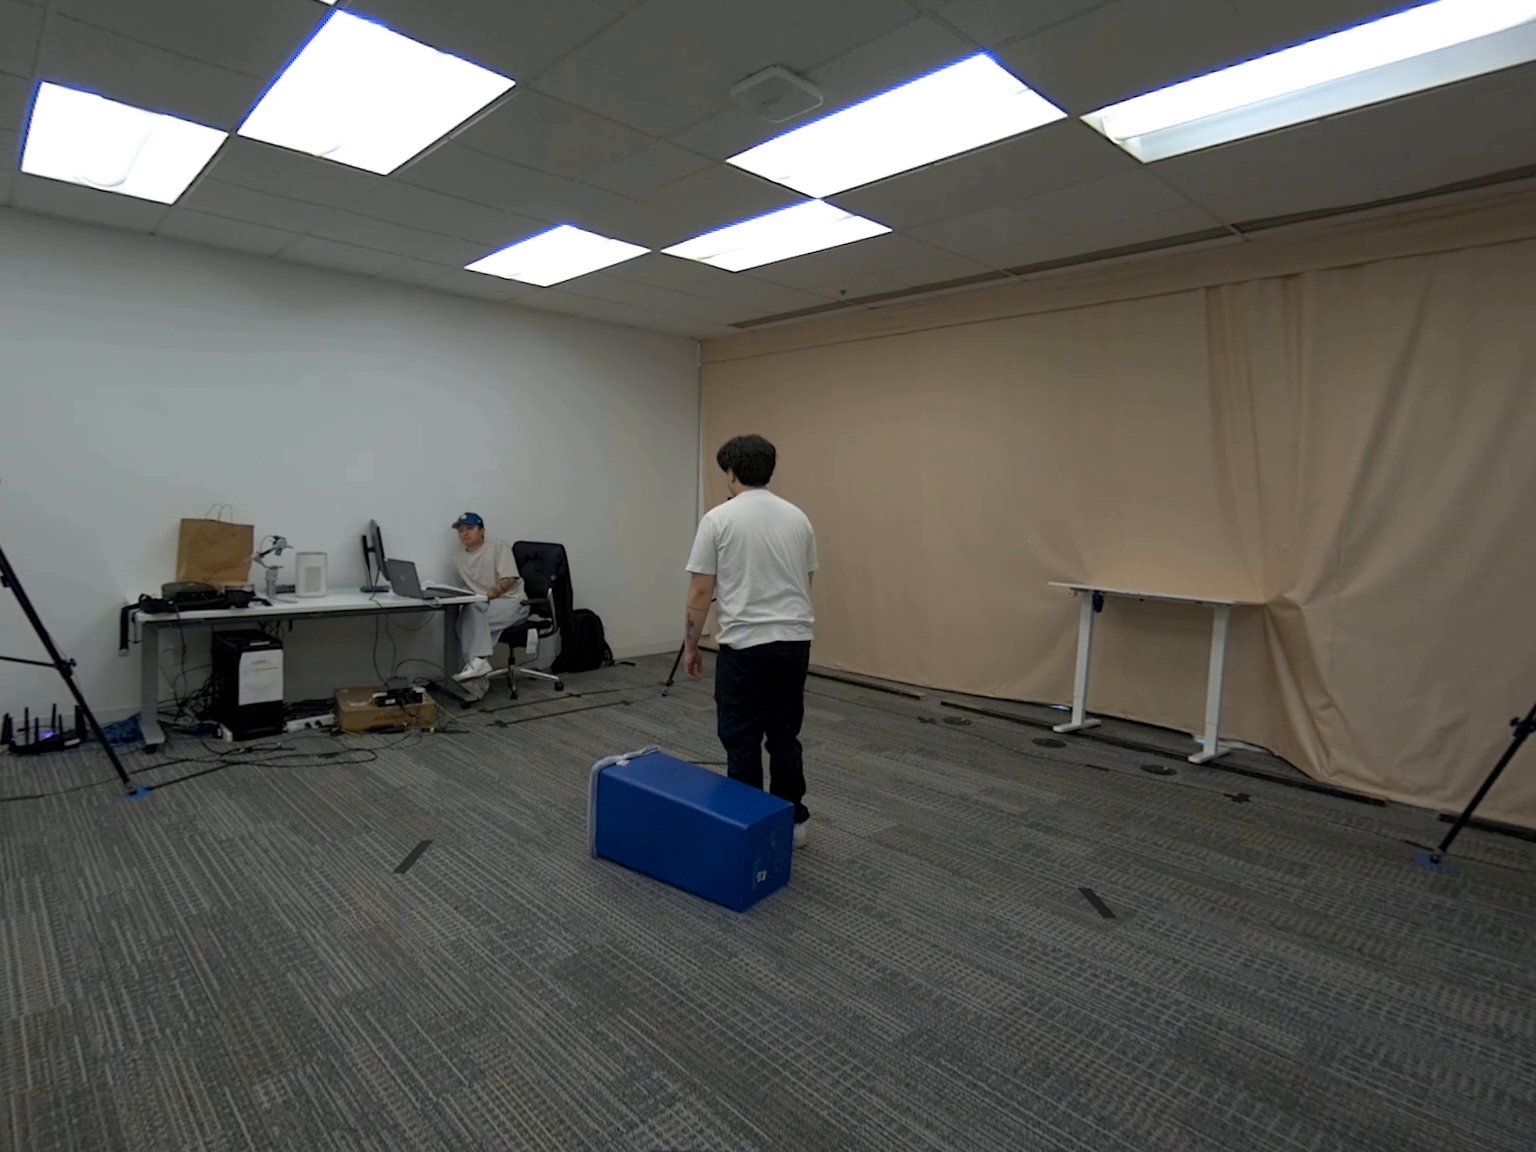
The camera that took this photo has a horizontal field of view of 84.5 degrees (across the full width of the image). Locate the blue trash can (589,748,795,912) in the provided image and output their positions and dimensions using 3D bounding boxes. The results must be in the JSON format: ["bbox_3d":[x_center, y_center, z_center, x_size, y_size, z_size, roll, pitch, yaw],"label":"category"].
[{"bbox_3d":[-0.300,0.938,3.136,0.732,0.373,0.369,9,7,37],"label":"blue trash can"}]
